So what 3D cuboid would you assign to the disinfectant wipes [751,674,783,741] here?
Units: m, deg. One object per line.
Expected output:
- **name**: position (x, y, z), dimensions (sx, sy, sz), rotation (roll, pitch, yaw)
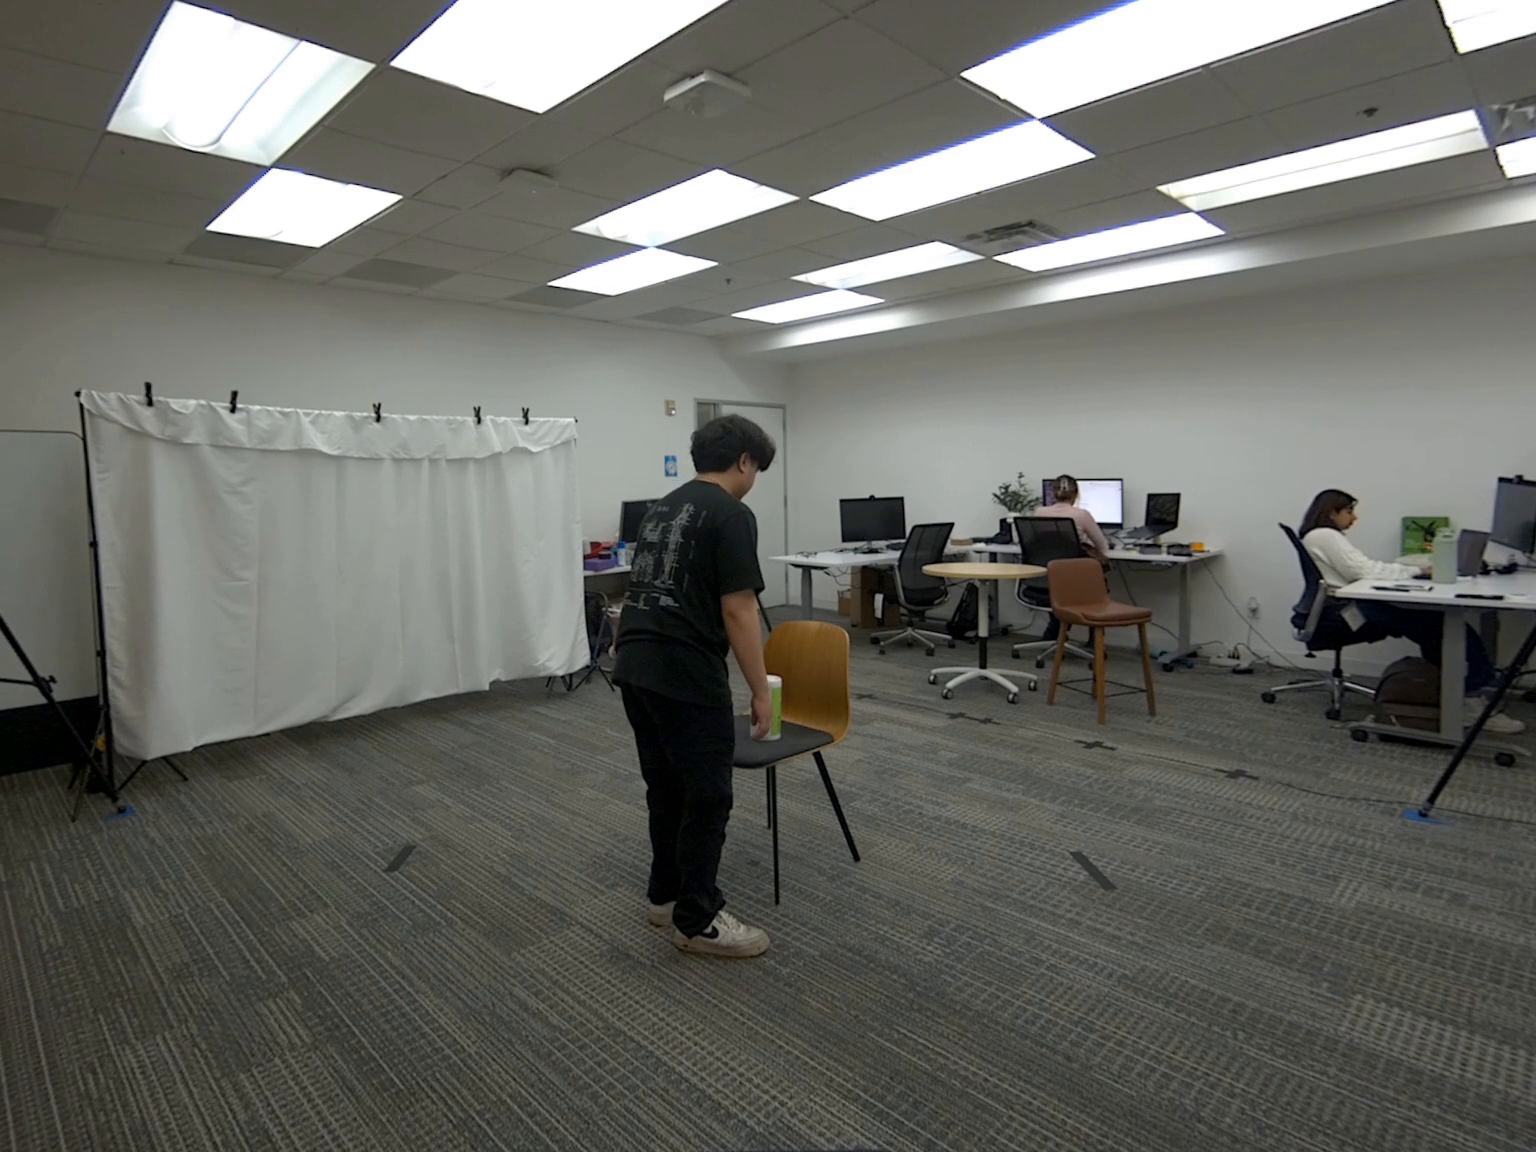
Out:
- **disinfectant wipes**: position (-0.004, 0.471, 3.042), dimensions (0.118, 0.217, 0.118), rotation (2, 2, -2)
